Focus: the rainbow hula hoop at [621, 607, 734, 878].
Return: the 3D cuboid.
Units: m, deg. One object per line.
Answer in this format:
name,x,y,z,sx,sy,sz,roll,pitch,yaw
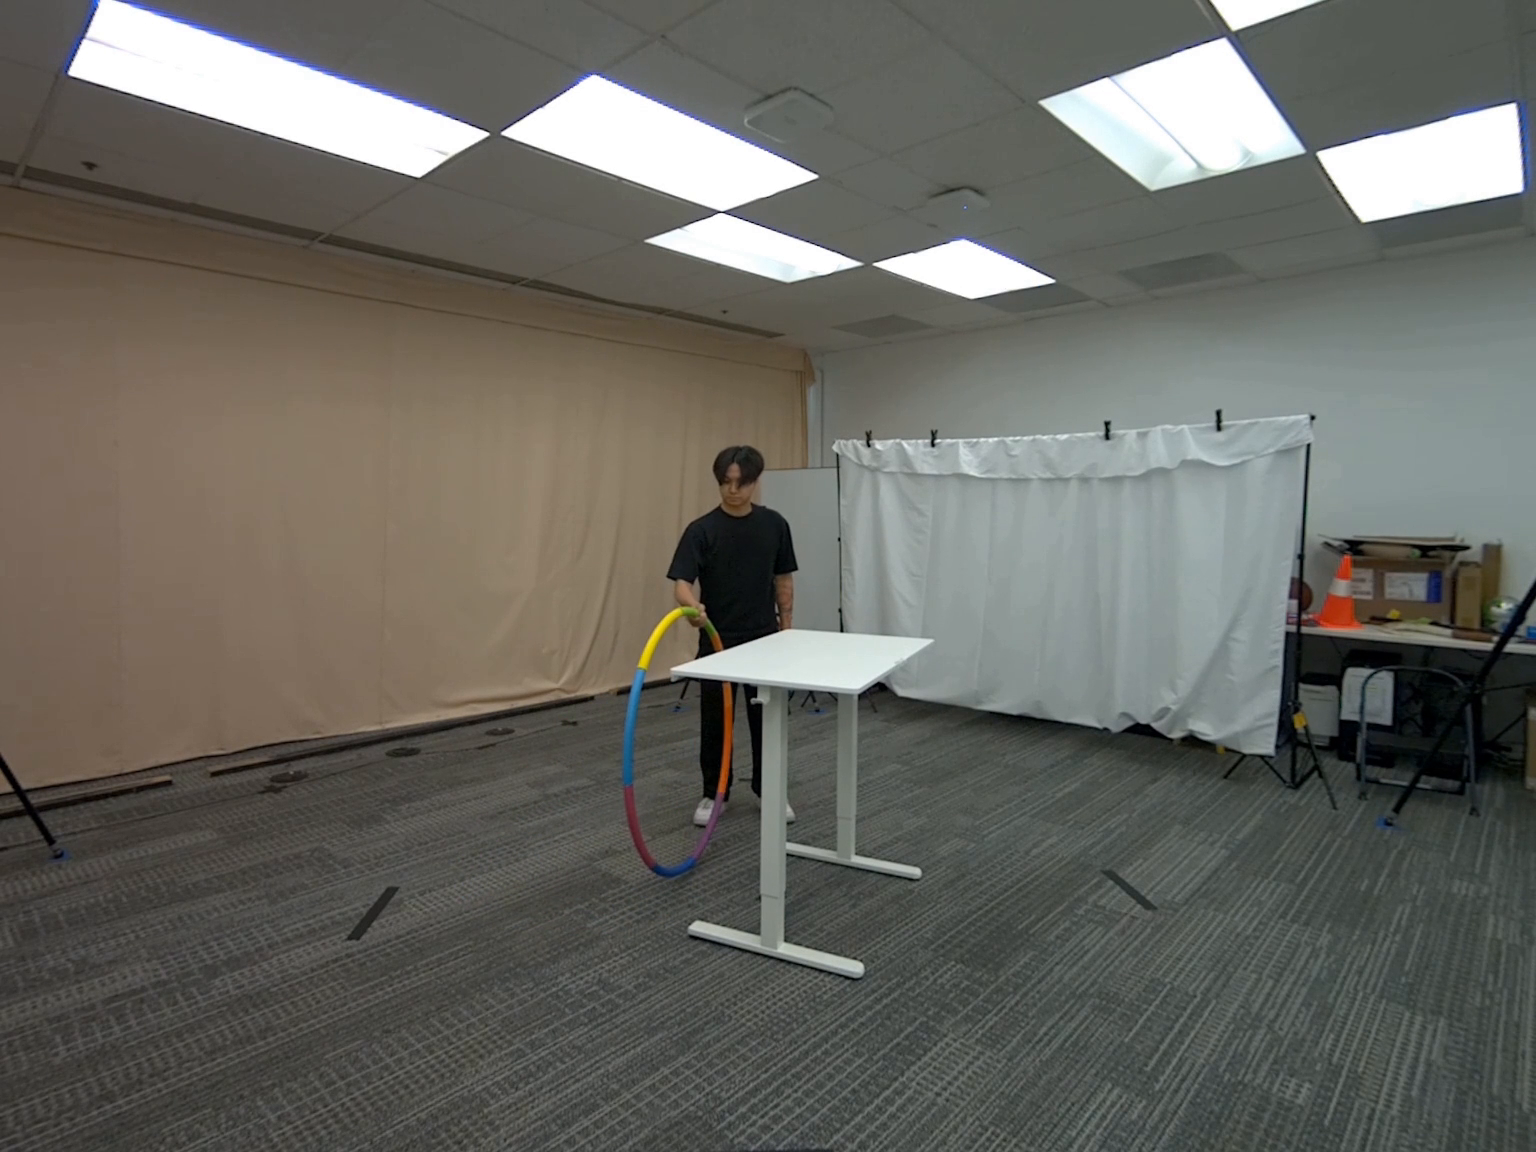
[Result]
rainbow hula hoop,-0.306,0.617,3.173,0.036,0.977,0.961,0,3,18
